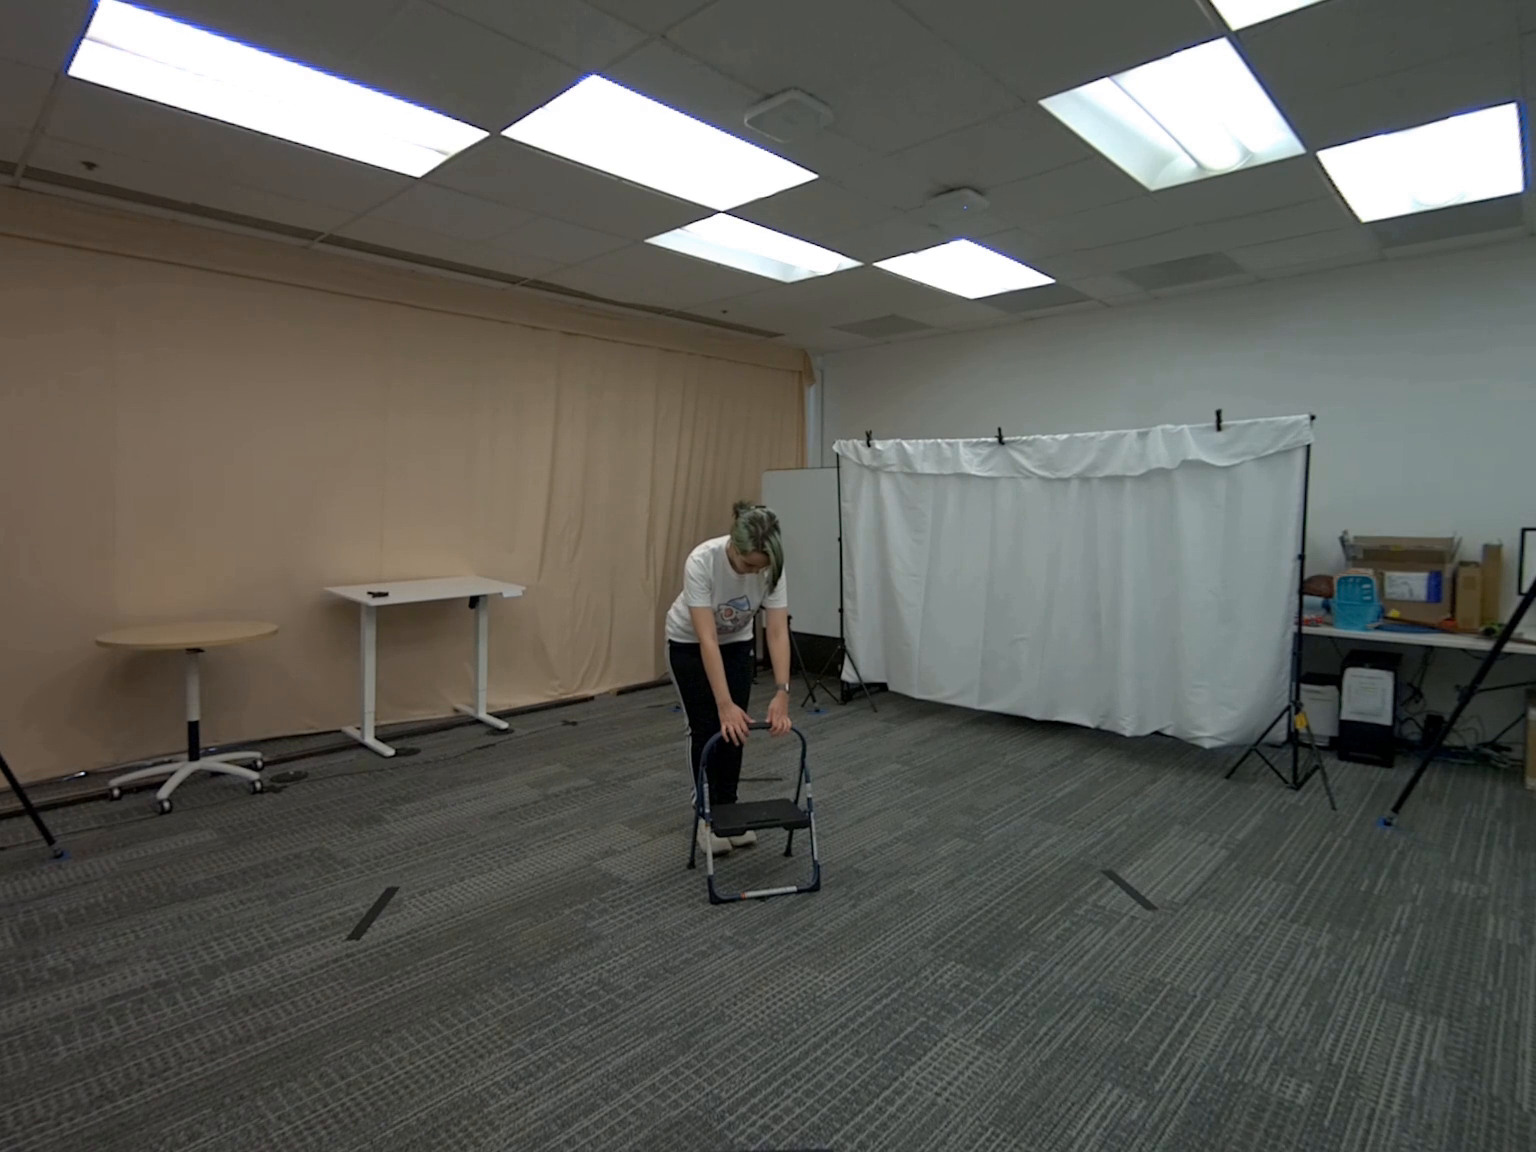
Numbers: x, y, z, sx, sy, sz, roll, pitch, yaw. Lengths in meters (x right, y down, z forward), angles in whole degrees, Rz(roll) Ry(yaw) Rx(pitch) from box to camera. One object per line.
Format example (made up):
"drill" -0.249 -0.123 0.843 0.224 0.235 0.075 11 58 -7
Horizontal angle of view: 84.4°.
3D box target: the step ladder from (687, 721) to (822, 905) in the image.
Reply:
"step ladder" -0.055 0.830 3.137 0.423 0.605 0.356 -2 3 -17
